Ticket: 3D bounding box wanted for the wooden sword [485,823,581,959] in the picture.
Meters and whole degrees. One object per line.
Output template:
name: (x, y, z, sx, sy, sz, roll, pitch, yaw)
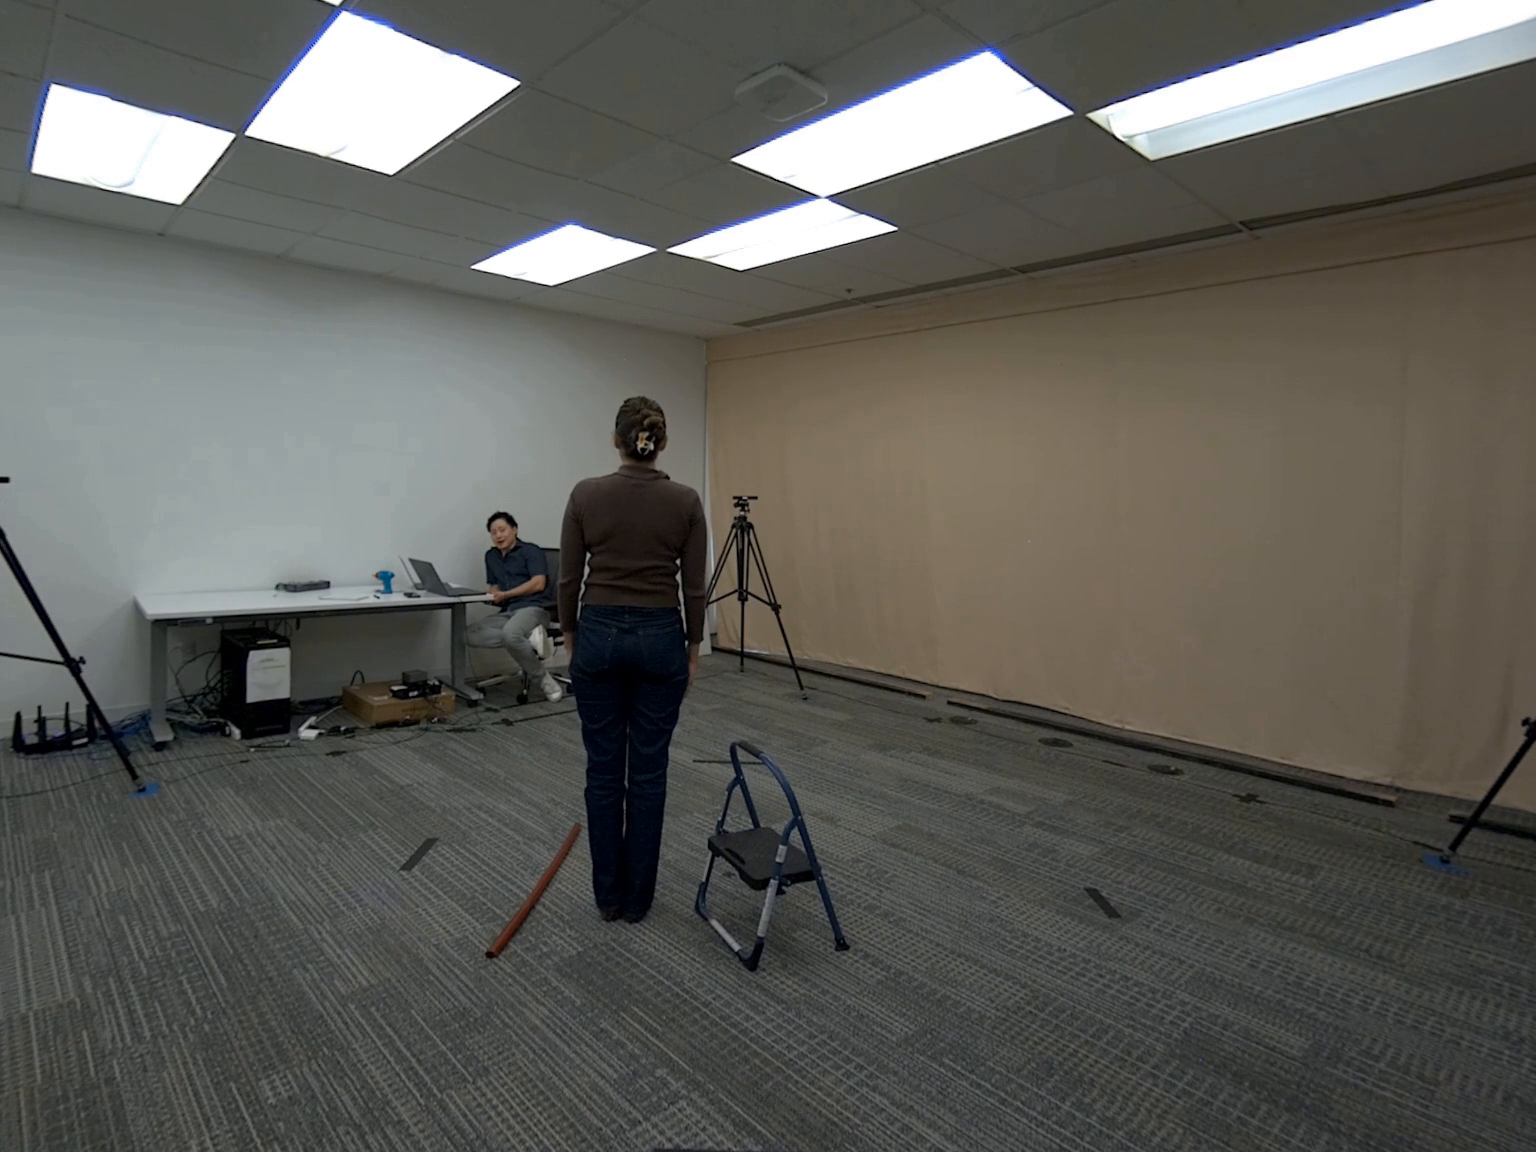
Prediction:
wooden sword: (-0.792, 1.071, 3.015, 0.051, 0.024, 1.025, 19, 7, 0)
